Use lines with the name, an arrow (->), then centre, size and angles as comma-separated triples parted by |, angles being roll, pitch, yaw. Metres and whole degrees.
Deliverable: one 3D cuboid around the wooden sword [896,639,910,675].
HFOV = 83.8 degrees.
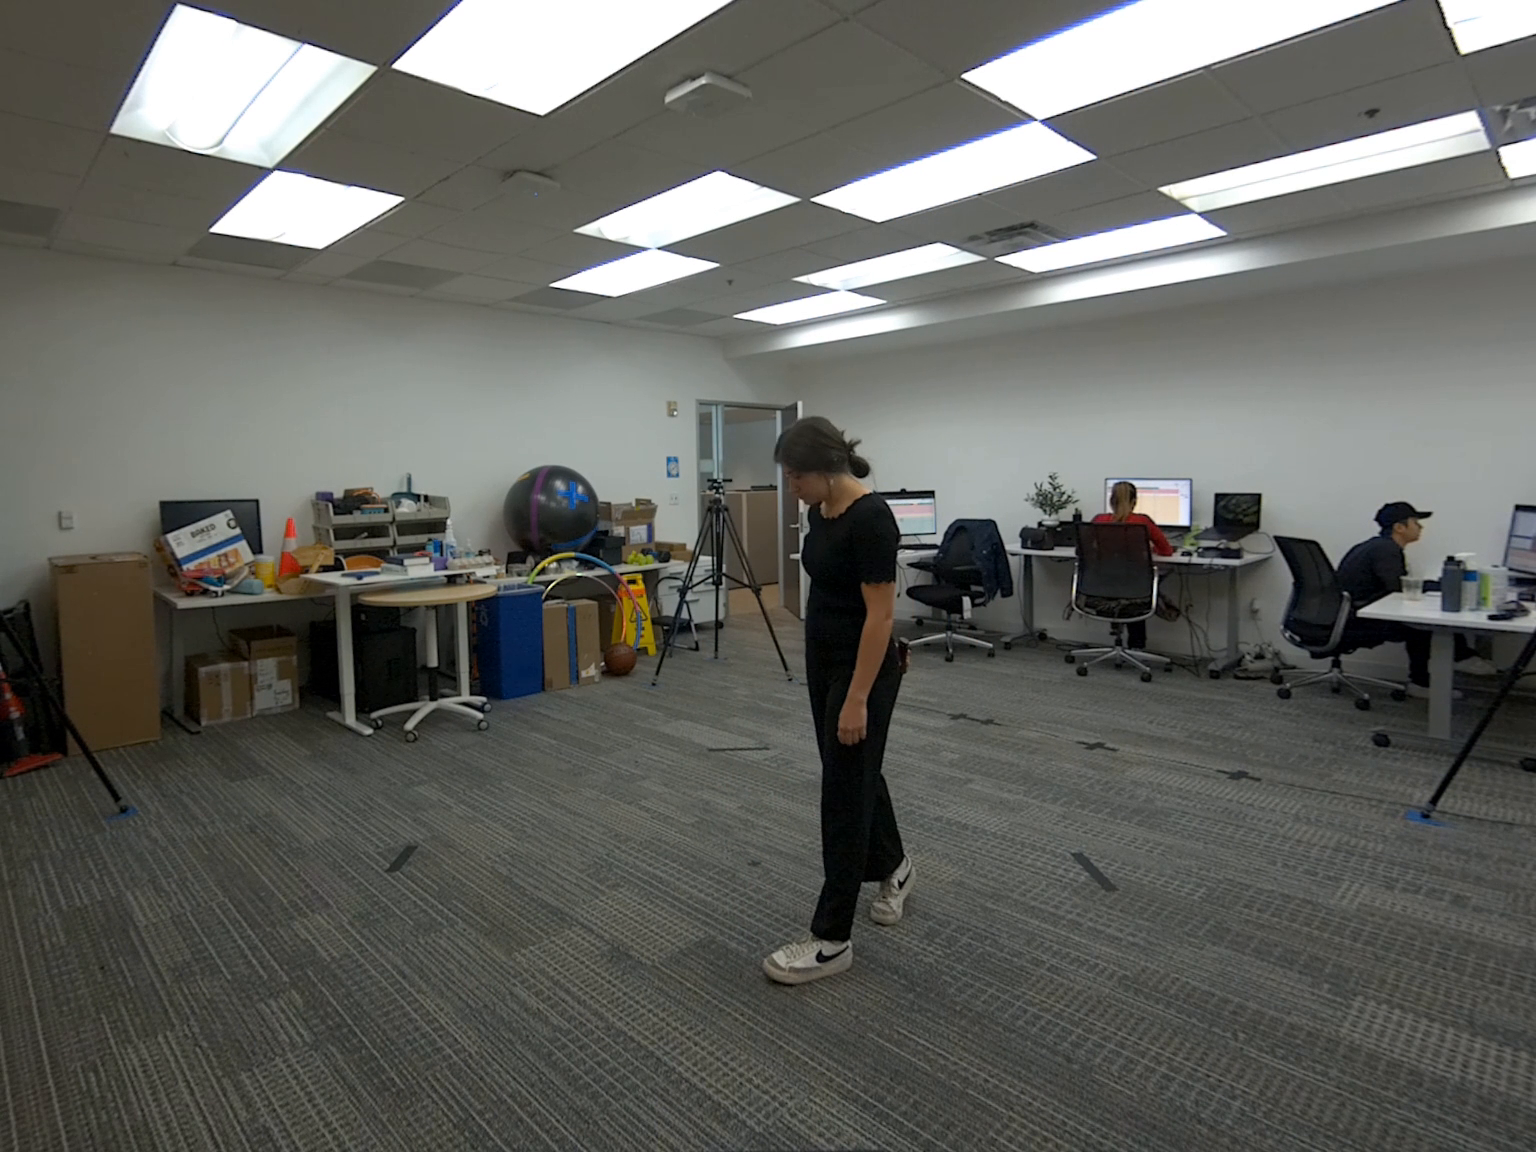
wooden sword -> 0.367, 0.634, 2.943 | 0.051, 1.006, 0.024 | 11, 34, -5
